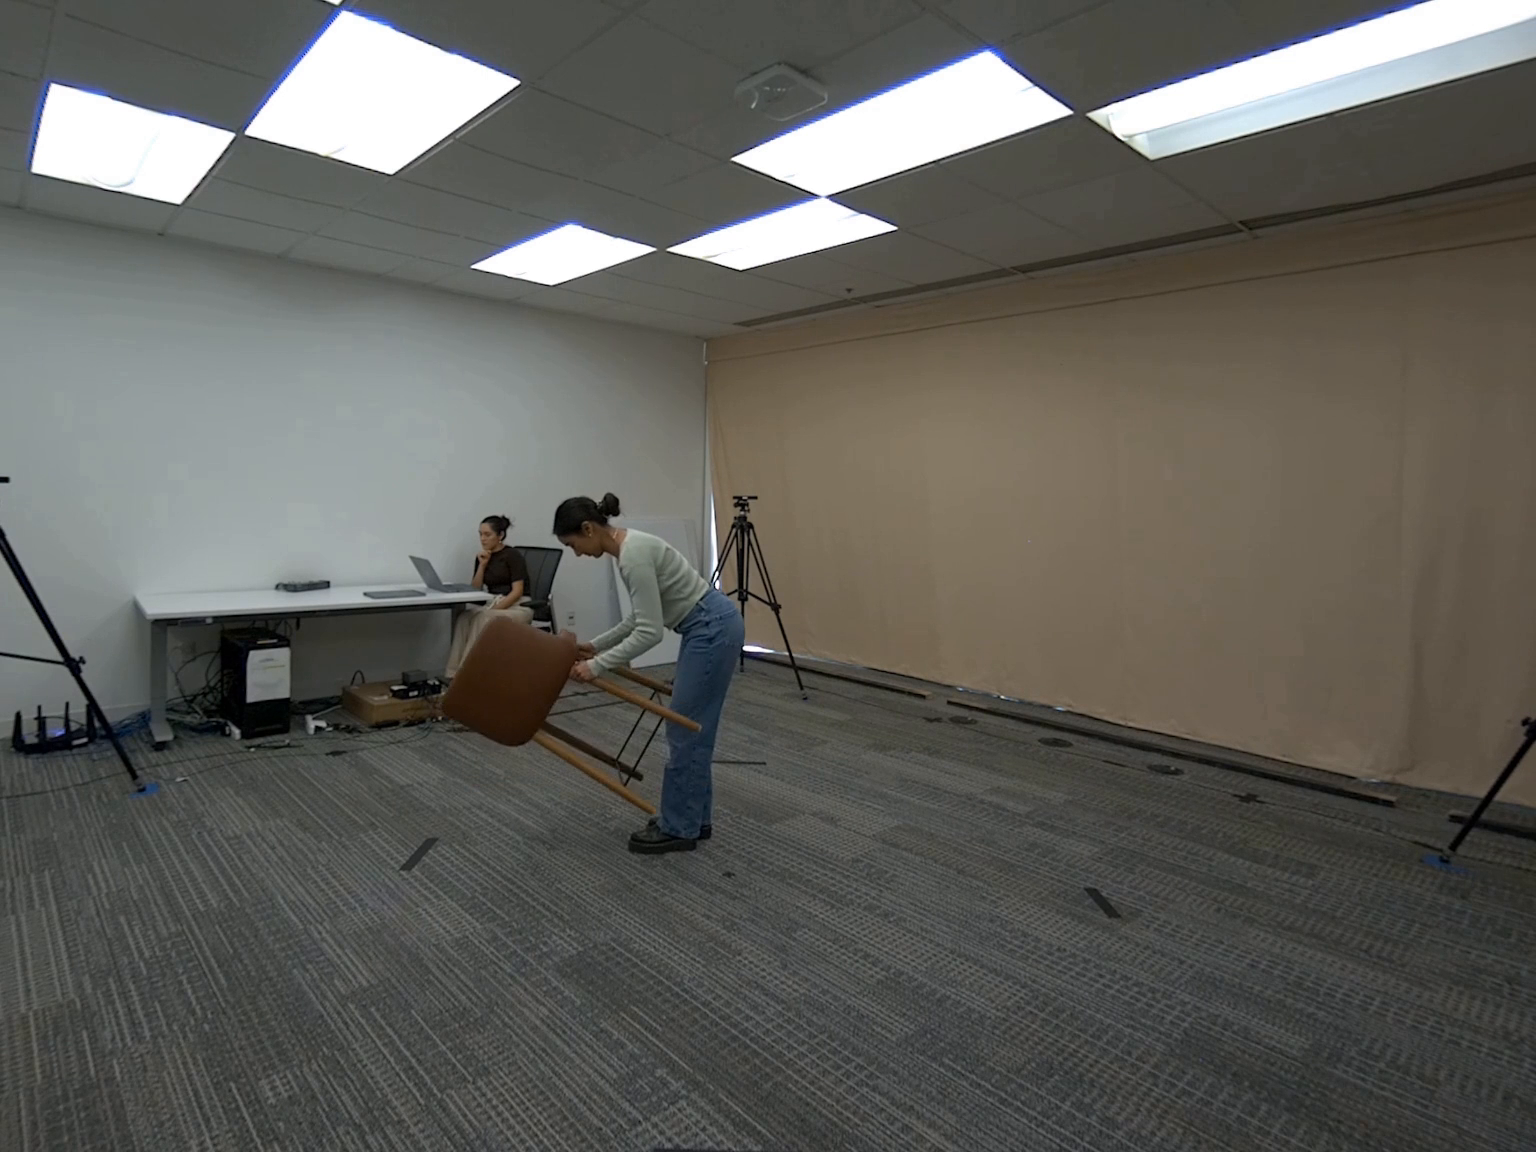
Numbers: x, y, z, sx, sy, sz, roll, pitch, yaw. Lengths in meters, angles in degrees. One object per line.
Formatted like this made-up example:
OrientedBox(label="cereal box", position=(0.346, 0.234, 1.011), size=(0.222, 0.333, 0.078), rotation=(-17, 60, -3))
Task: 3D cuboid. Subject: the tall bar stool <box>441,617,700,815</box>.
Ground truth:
OrientedBox(label="tall bar stool", position=(-0.759, 0.502, 3.250), size=(0.877, 0.457, 0.474), rotation=(30, -2, -14))
